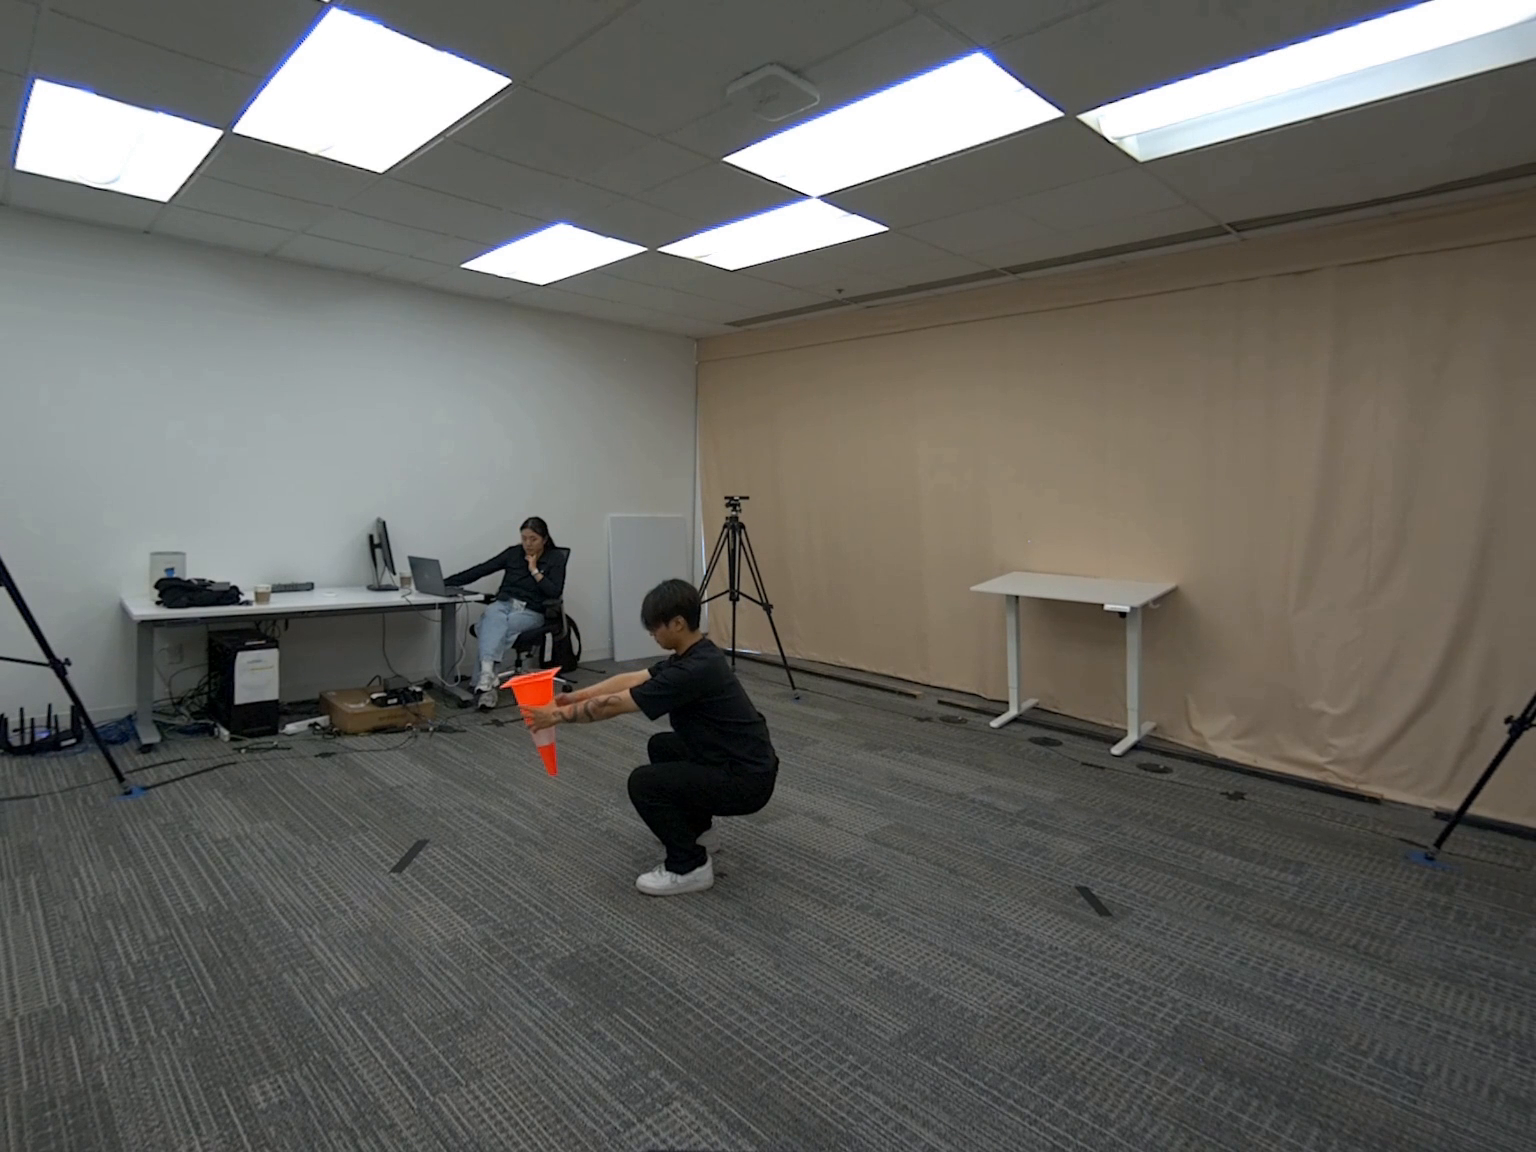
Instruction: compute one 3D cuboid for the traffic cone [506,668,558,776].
[{"bbox_3d":[-0.861,0.566,3.181,0.202,0.383,0.206,-12,3,-6],"label":"traffic cone"}]
